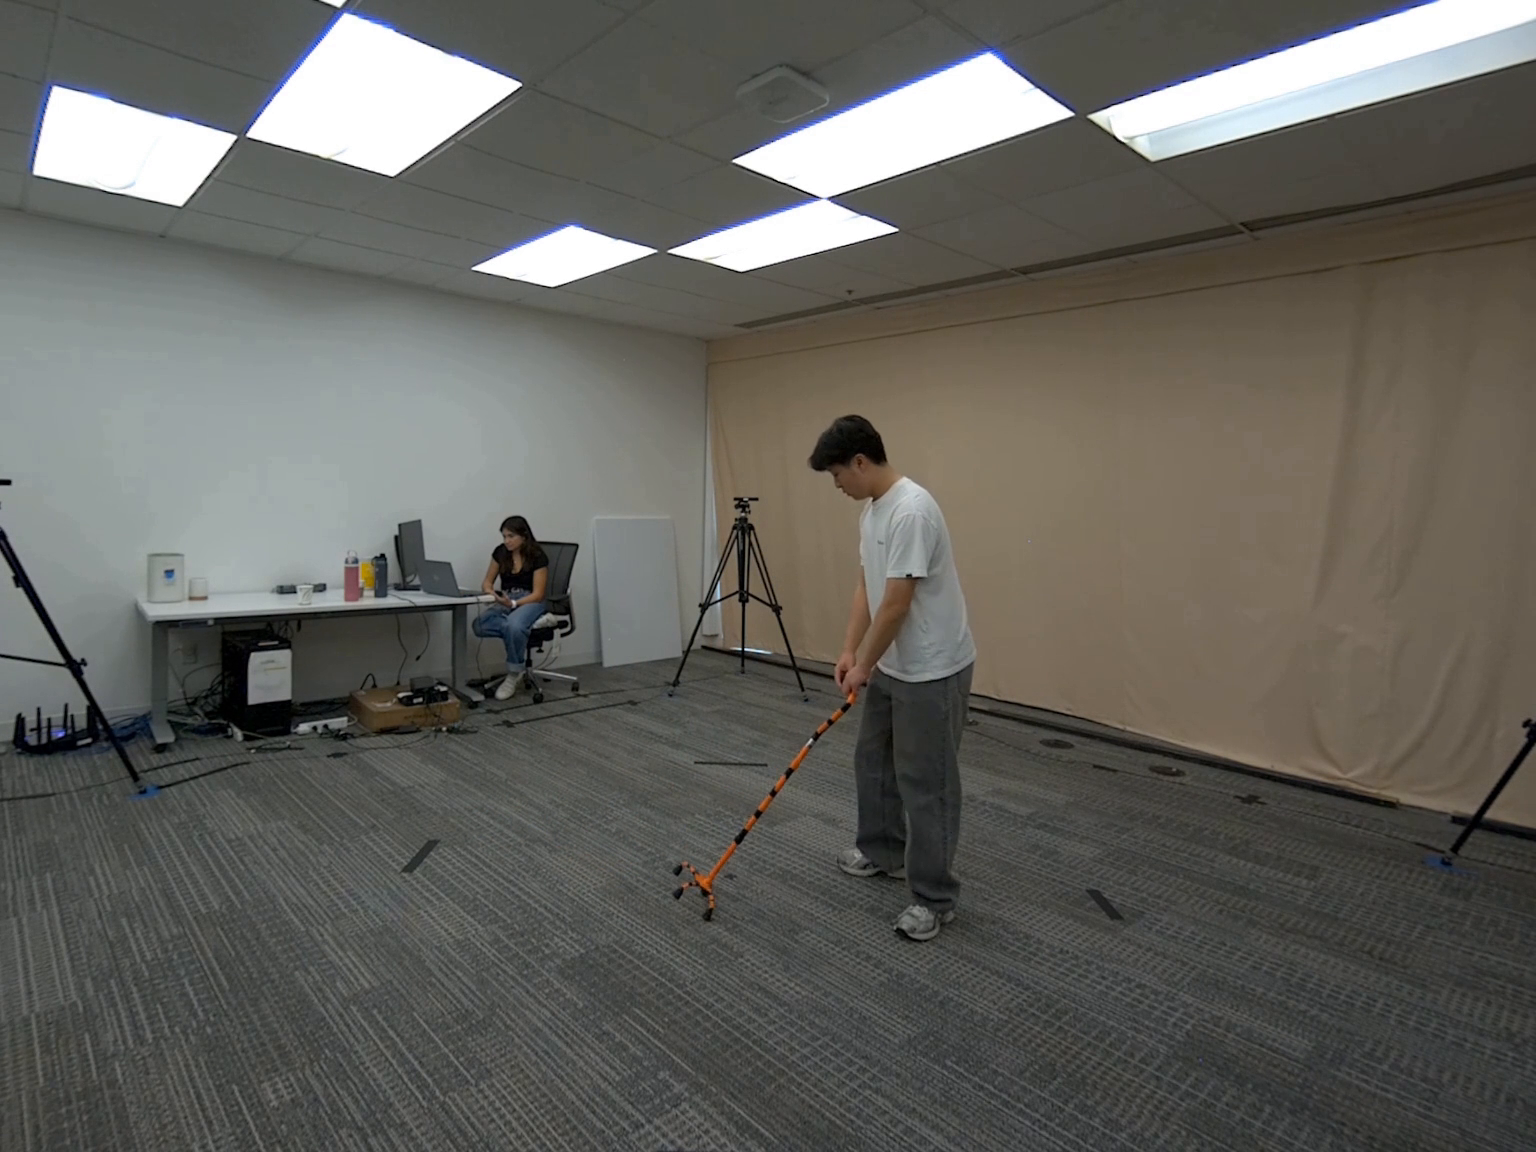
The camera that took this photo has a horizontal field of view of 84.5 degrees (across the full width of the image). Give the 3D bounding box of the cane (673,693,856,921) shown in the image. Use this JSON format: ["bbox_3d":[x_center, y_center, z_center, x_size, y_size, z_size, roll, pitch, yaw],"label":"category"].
[{"bbox_3d":[0.001,0.724,2.856,0.150,0.908,0.208,38,1,-8],"label":"cane"}]
